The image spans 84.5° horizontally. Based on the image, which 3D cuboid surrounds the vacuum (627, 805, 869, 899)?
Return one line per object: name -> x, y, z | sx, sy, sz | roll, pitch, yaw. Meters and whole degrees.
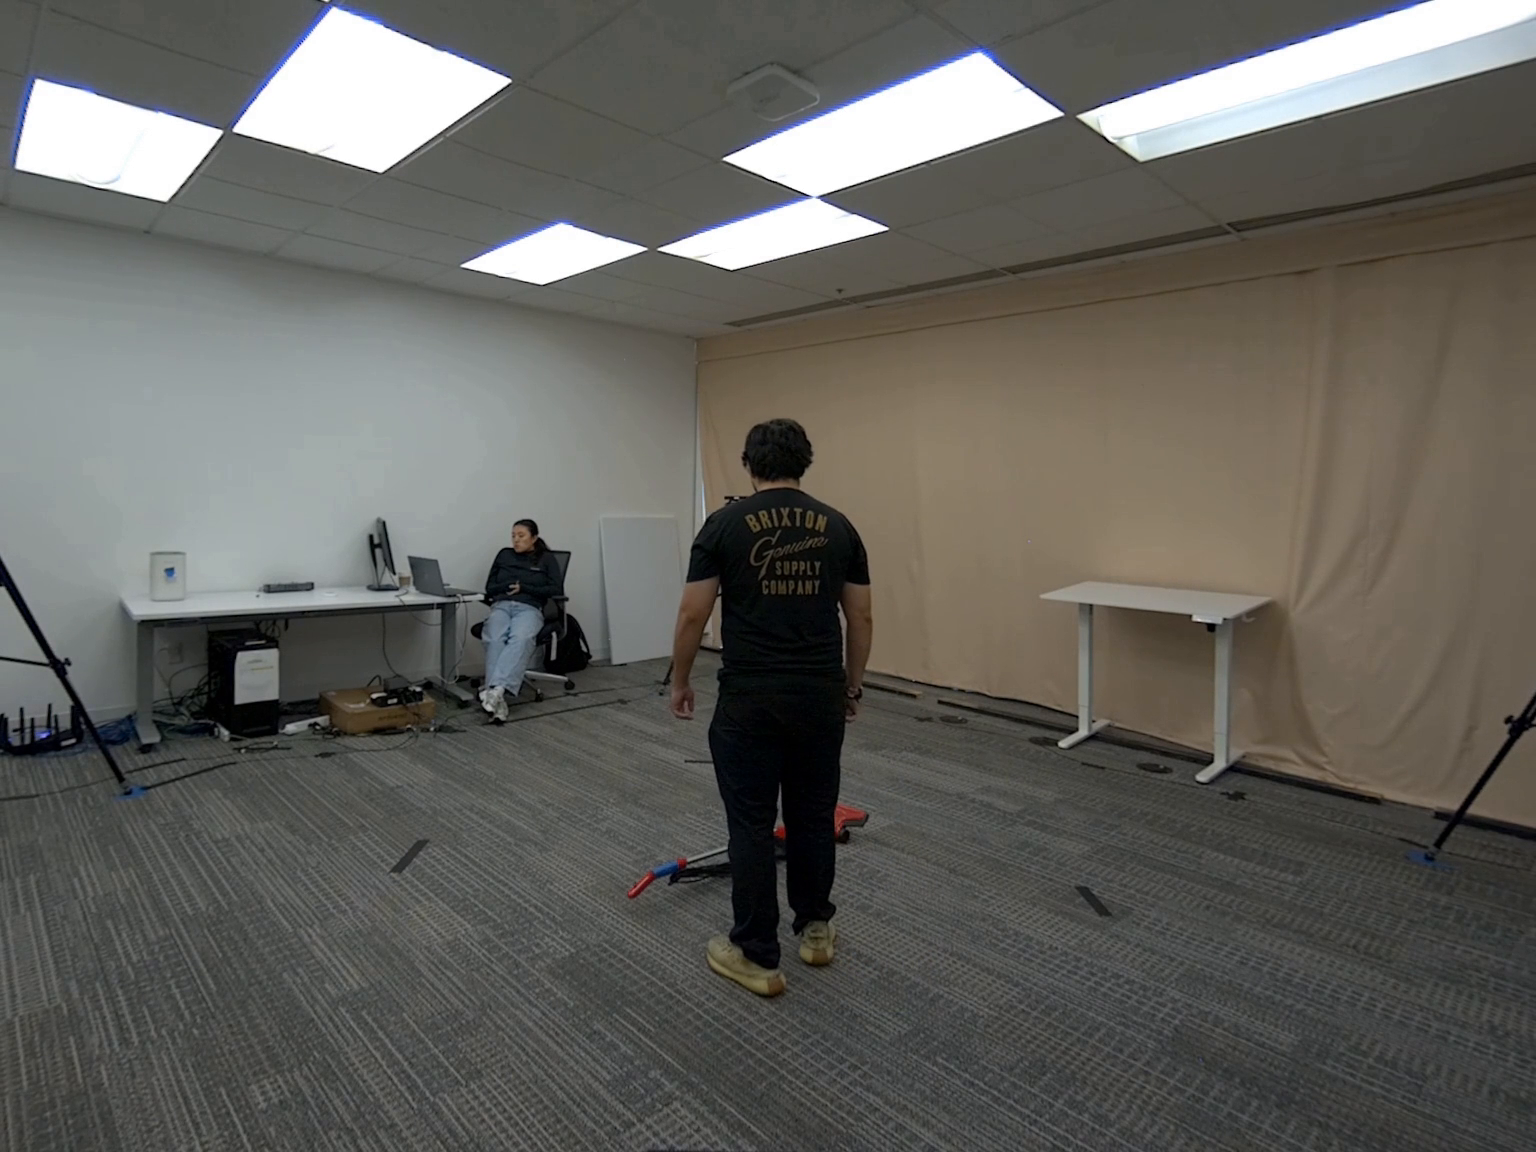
vacuum -> -0.078, 1.045, 3.136 | 1.026, 0.144, 0.259 | -4, 4, -42
